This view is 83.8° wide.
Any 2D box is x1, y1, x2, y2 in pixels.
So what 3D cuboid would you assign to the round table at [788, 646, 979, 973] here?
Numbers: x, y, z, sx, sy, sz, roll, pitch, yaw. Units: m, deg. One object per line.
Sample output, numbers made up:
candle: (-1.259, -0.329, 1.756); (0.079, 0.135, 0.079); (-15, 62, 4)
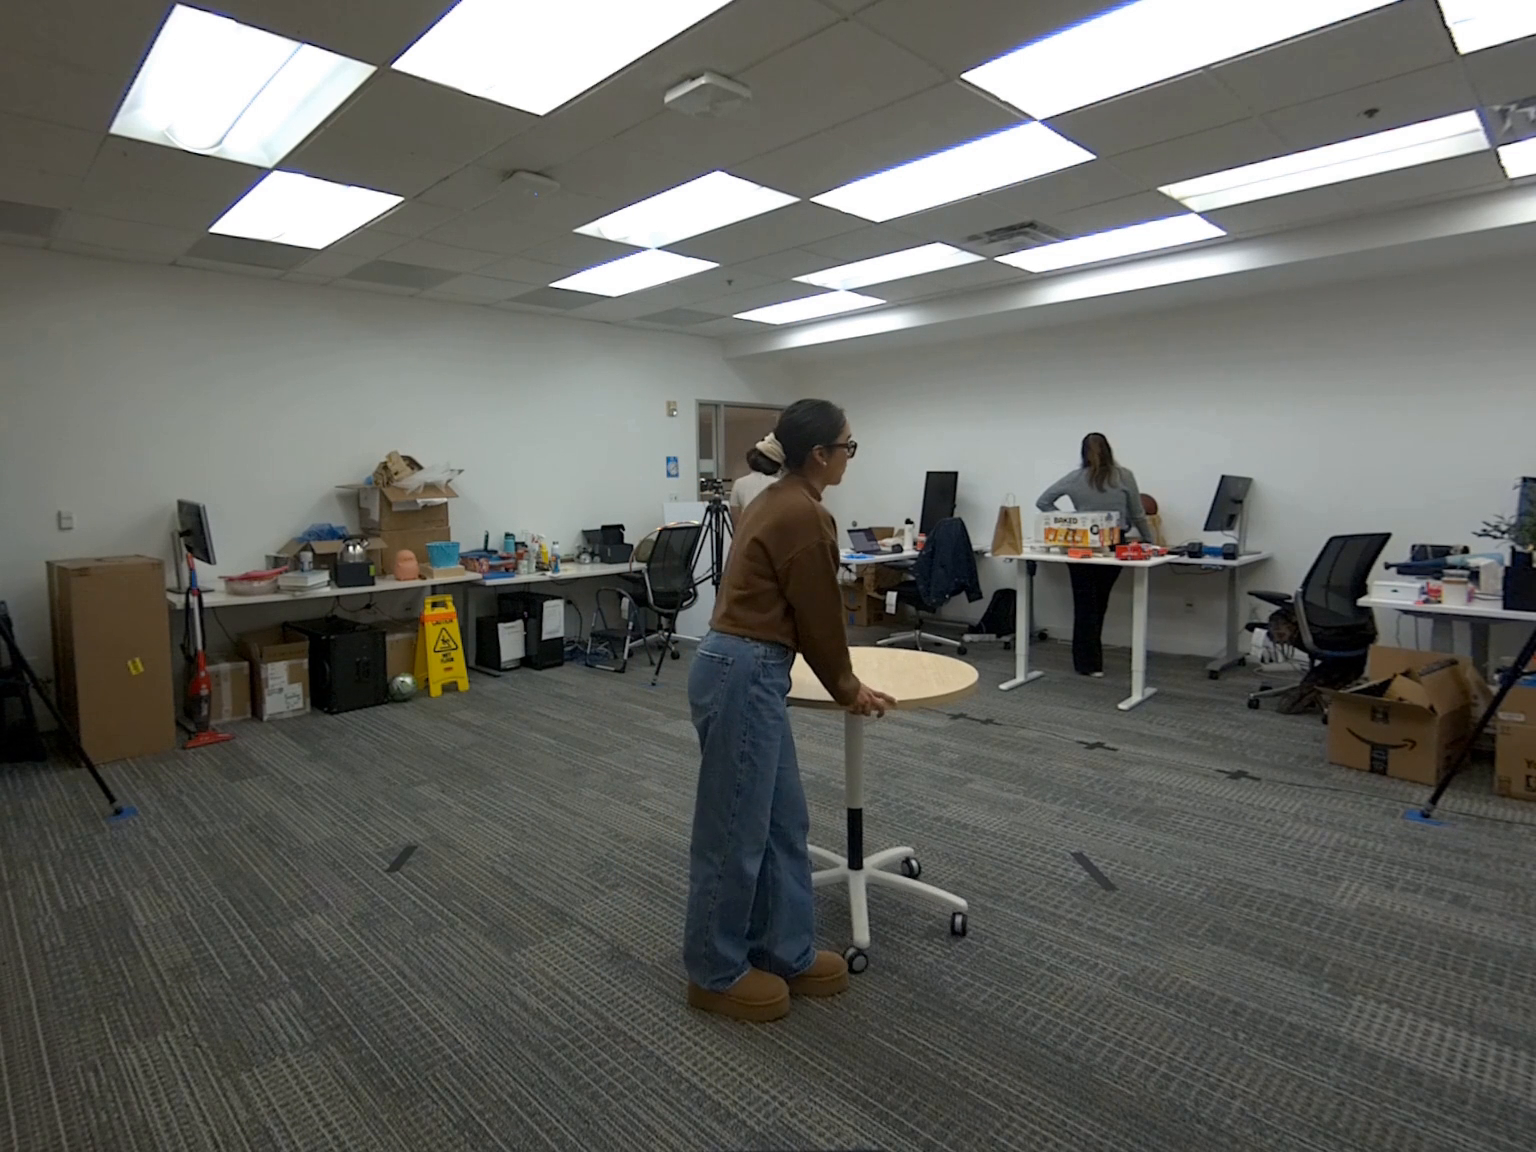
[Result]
round table: (0.270, 0.687, 2.741); (0.784, 0.783, 0.789); (-1, 5, -2)
